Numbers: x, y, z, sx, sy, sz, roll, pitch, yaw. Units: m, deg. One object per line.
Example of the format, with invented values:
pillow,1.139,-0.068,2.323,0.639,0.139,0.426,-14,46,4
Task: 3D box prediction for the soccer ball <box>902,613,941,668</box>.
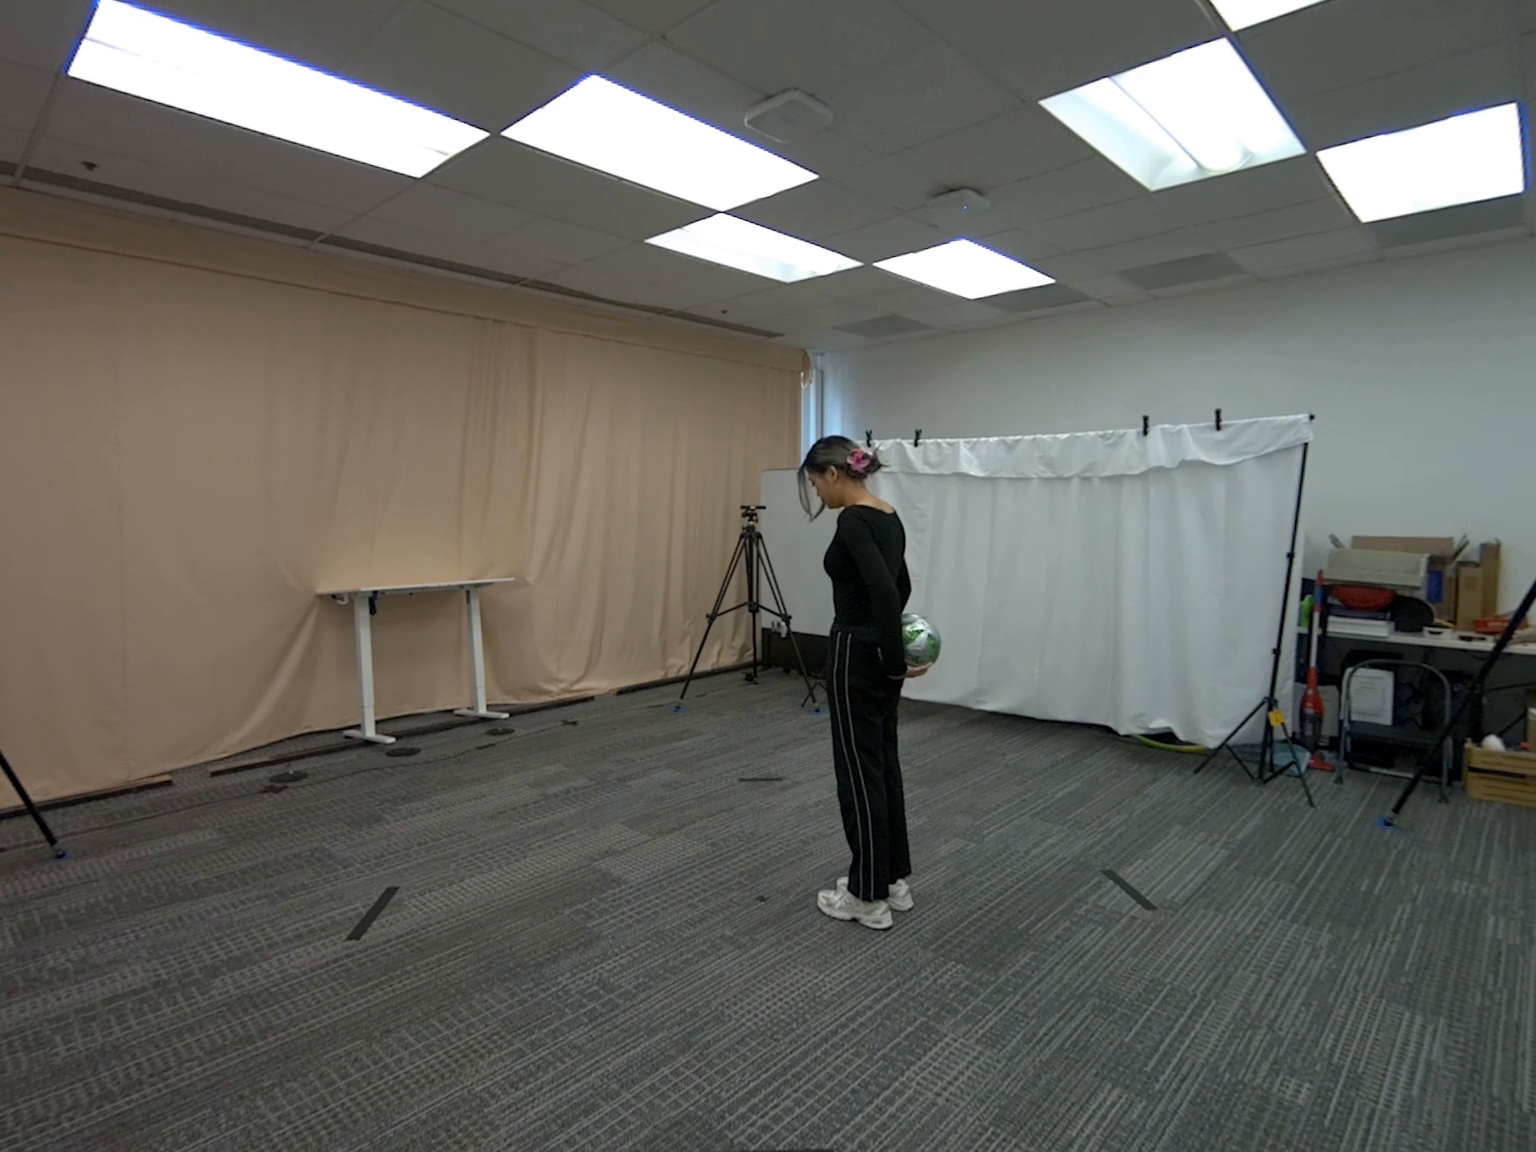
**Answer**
soccer ball,0.455,0.218,2.668,0.187,0.187,0.188,0,4,-2
